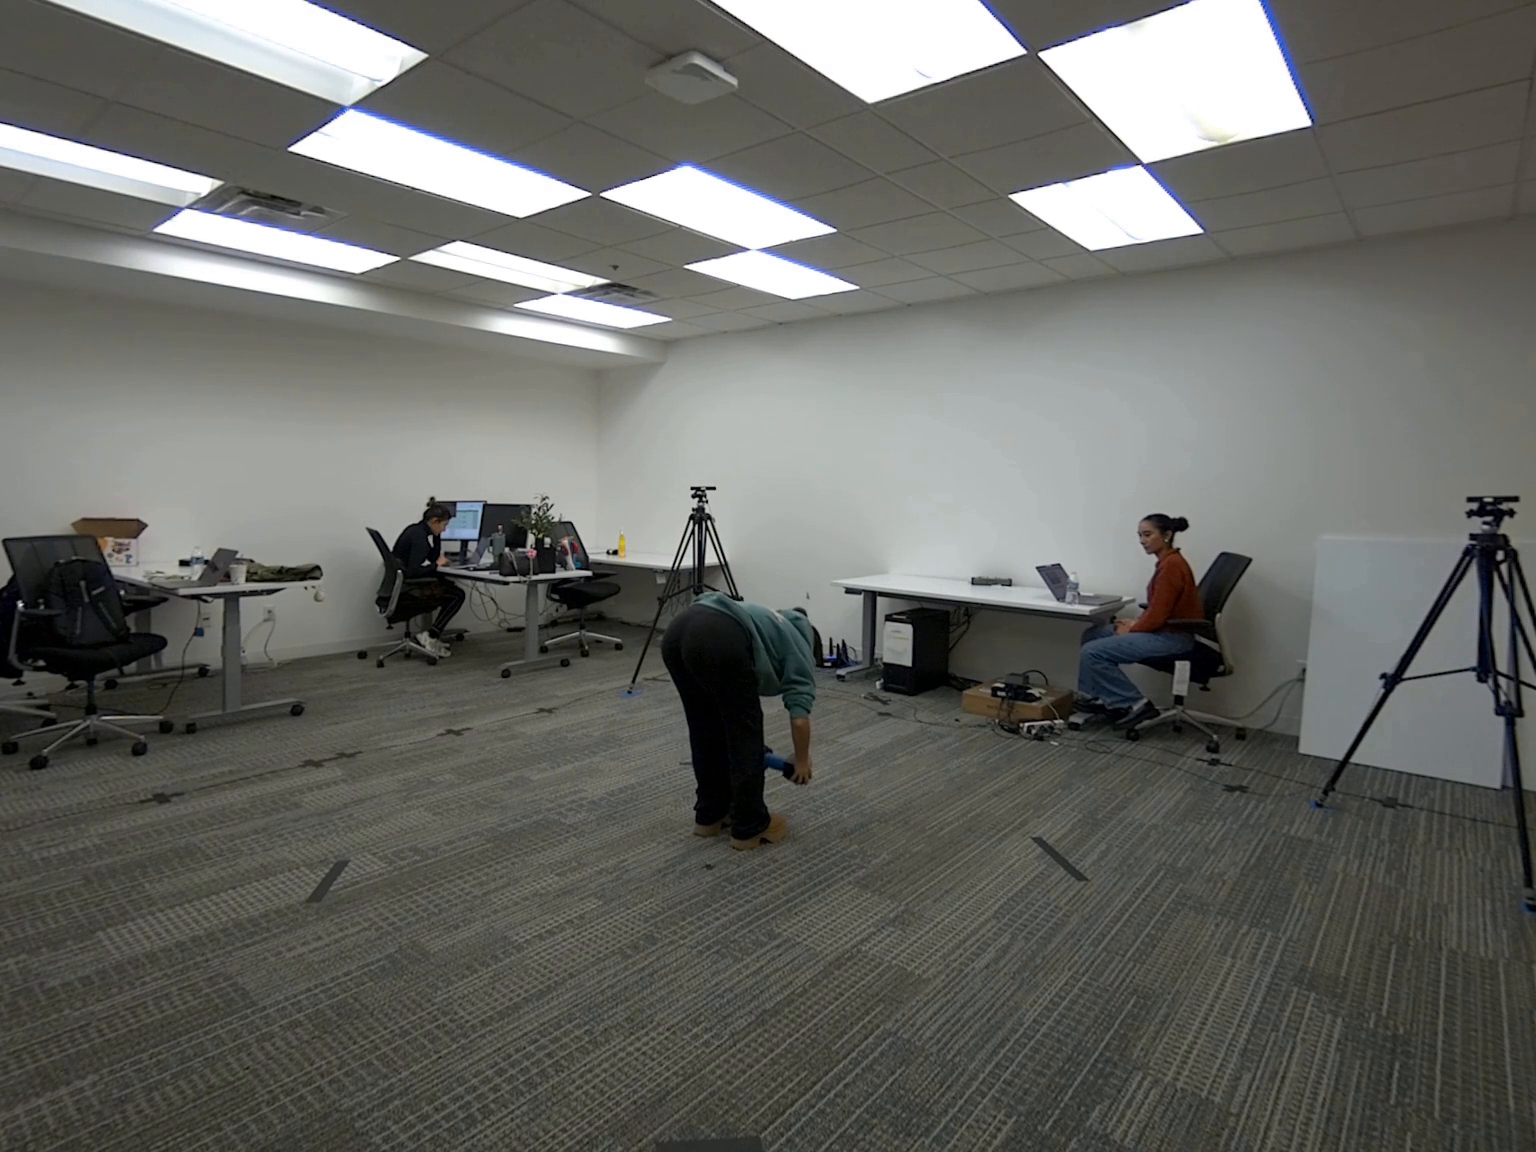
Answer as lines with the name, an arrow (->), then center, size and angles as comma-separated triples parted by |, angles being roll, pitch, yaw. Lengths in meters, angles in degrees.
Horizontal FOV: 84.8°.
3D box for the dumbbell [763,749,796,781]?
dumbbell -> 0.026, 0.780, 3.602 | 0.304, 0.123, 0.105 | 7, 1, 42
